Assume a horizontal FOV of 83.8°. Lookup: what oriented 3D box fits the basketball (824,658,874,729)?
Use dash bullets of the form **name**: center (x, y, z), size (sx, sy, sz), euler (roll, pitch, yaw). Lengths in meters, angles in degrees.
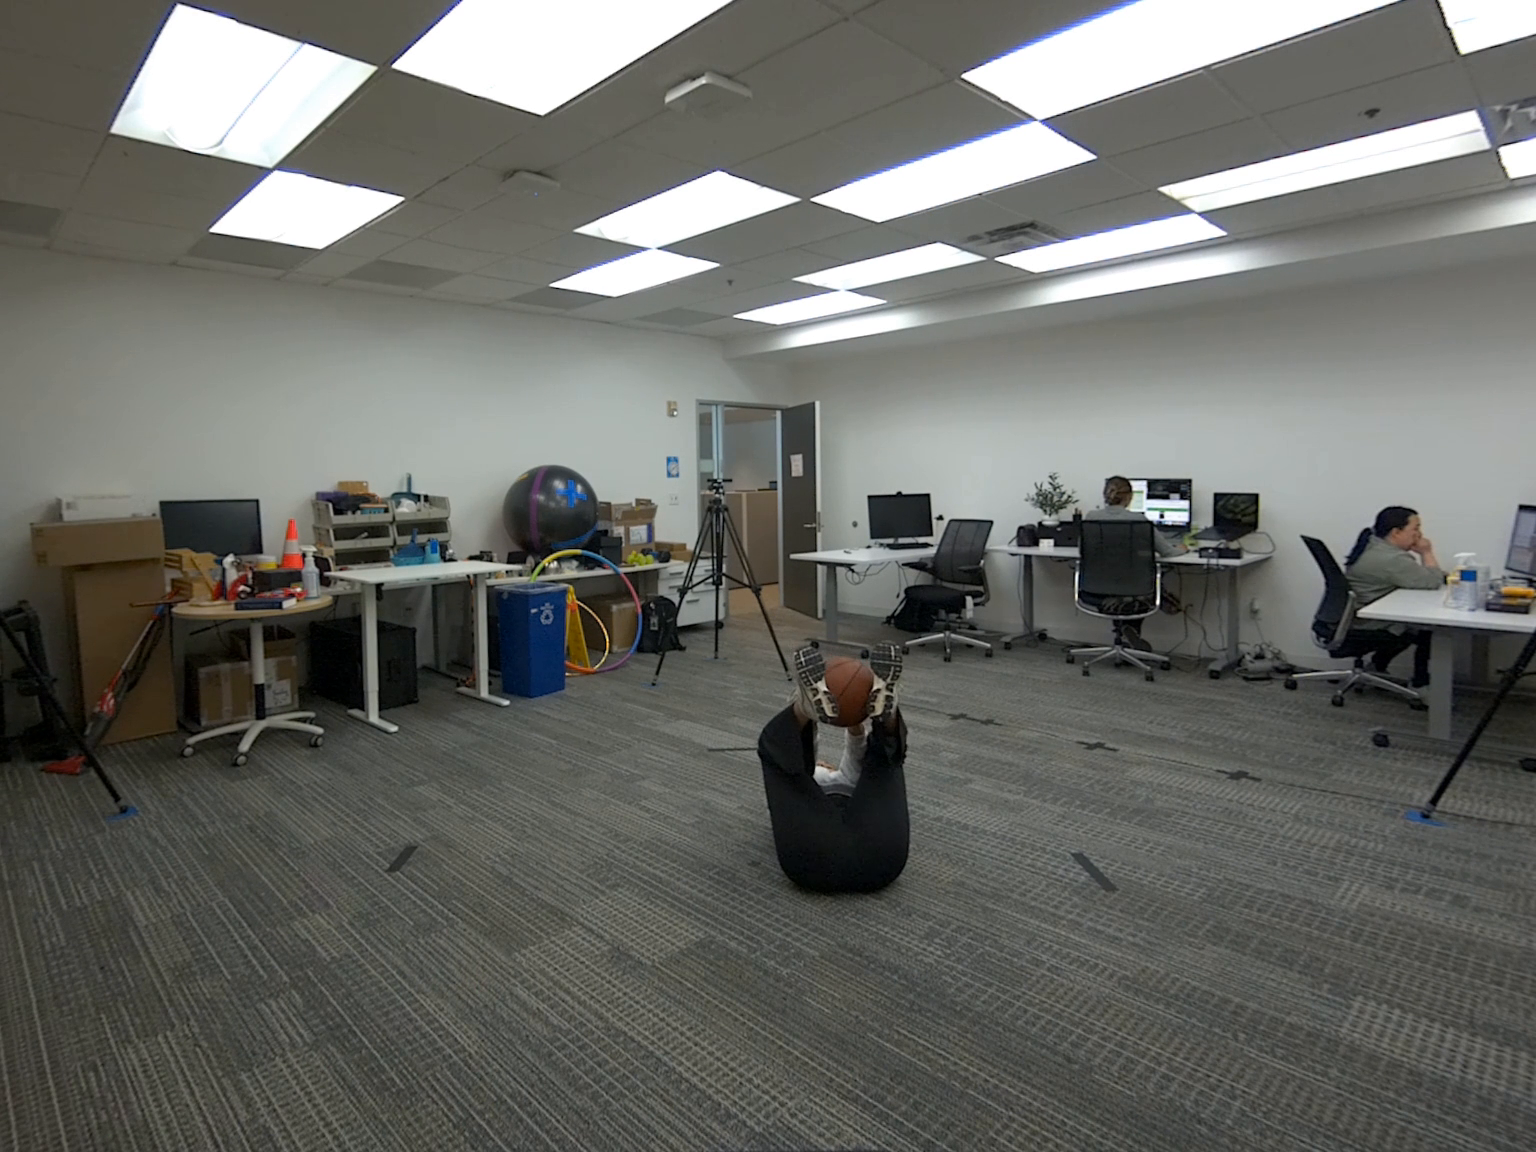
- **basketball**: center (0.261, 0.397, 2.927), size (0.236, 0.235, 0.237), euler (-1, 5, -2)
